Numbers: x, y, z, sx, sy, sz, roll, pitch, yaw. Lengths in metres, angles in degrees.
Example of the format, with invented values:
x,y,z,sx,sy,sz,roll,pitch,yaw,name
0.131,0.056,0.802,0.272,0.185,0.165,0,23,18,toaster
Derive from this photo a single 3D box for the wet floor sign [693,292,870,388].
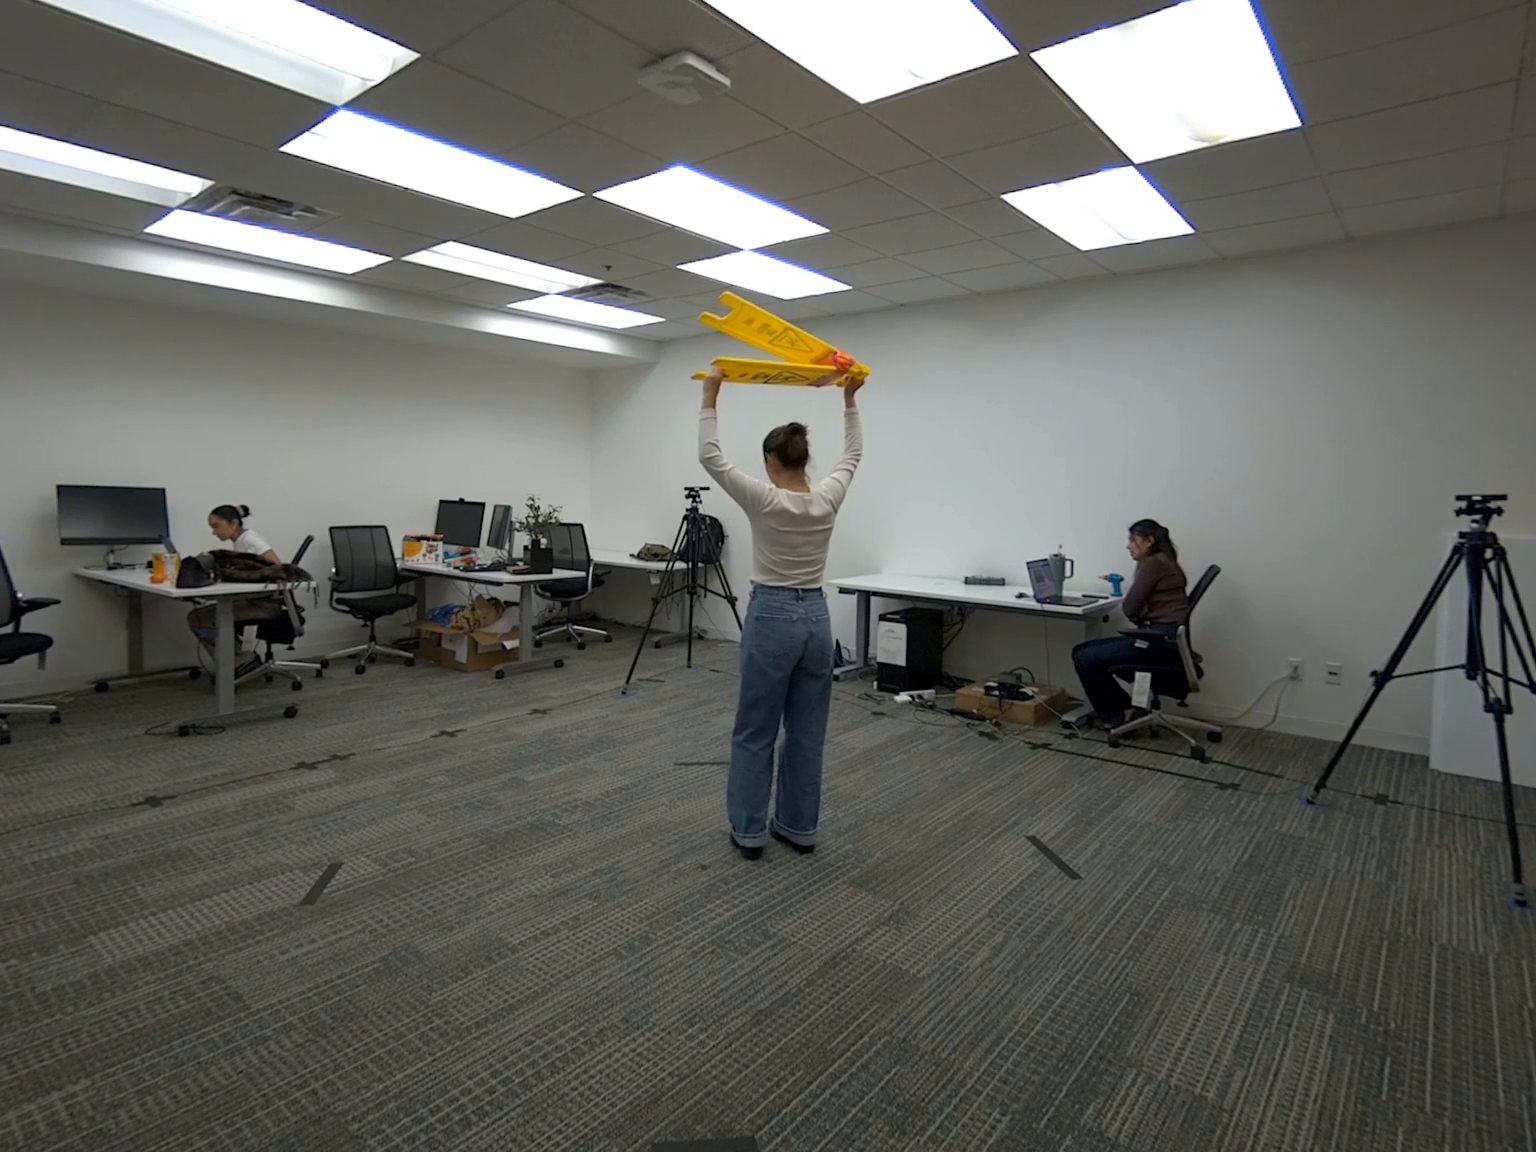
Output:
x,y,z,sx,sy,sz,roll,pitch,yaw,name
0.066,-0.835,3.230,0.629,0.292,0.288,9,-8,-24,wet floor sign
